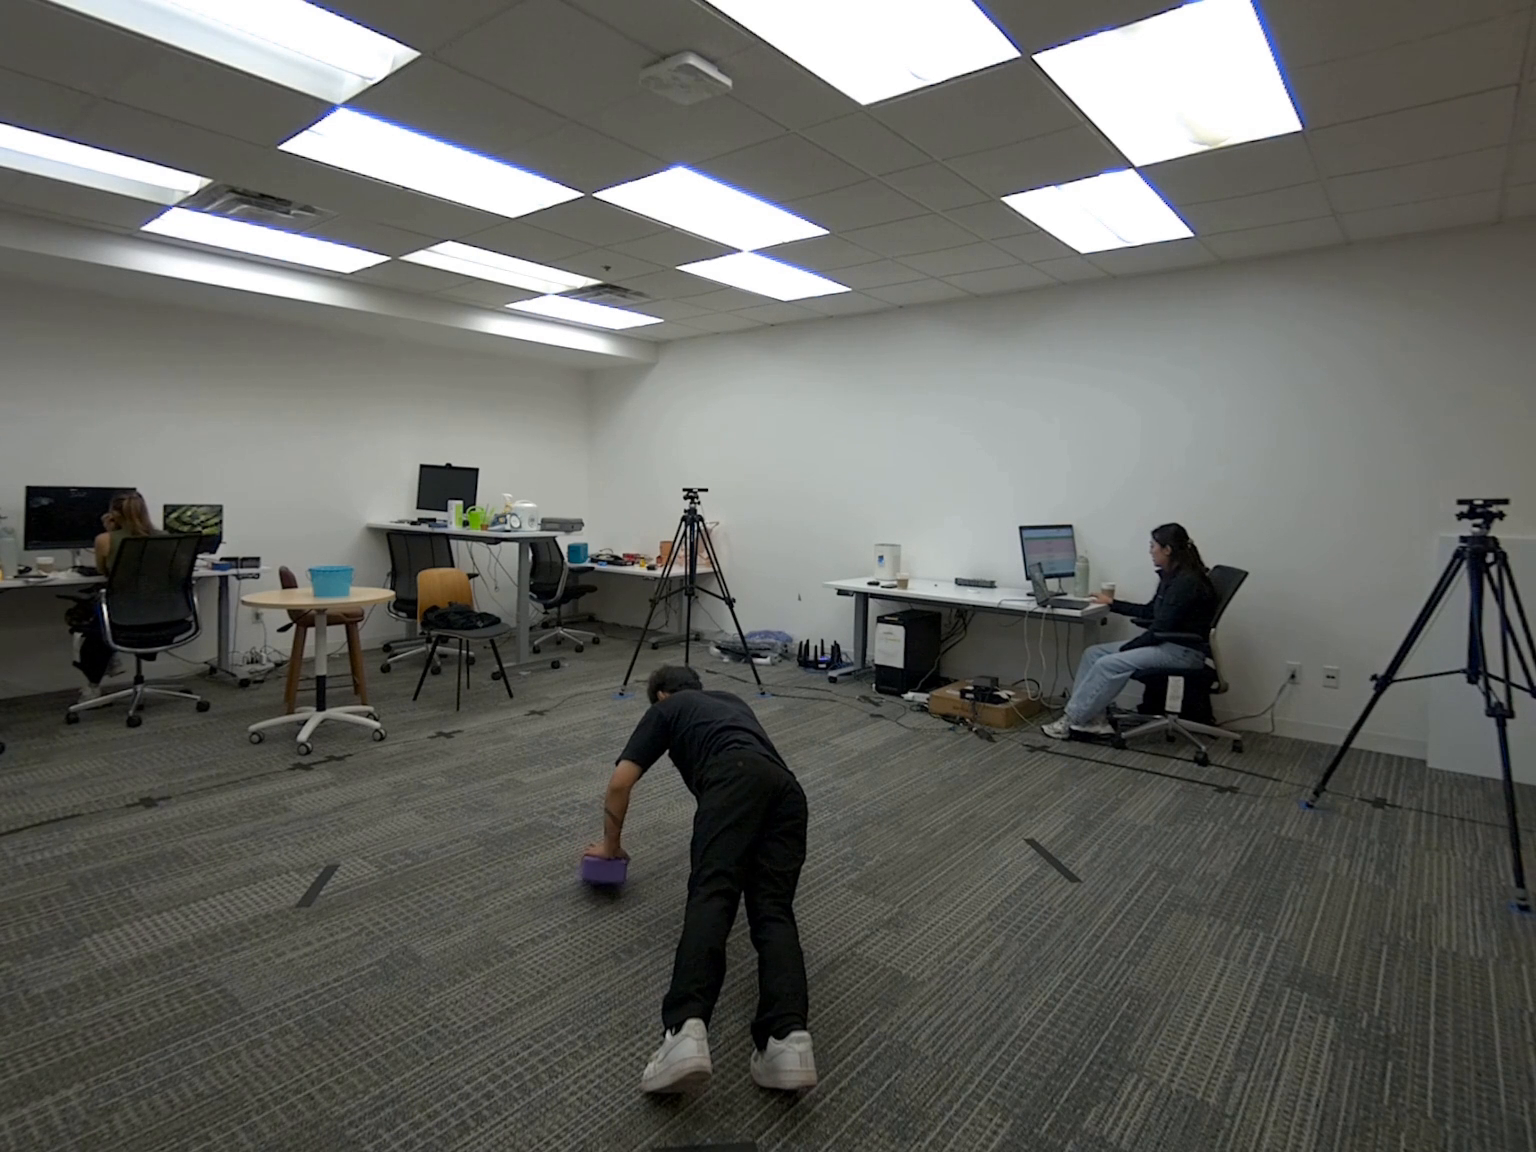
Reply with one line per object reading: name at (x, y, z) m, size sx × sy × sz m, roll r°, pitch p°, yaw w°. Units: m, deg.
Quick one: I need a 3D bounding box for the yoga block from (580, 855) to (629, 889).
yoga block at (-0.577, 1.006, 2.920) m, size 0.147 × 0.077 × 0.229 m, roll 6°, pitch -10°, yaw -9°
